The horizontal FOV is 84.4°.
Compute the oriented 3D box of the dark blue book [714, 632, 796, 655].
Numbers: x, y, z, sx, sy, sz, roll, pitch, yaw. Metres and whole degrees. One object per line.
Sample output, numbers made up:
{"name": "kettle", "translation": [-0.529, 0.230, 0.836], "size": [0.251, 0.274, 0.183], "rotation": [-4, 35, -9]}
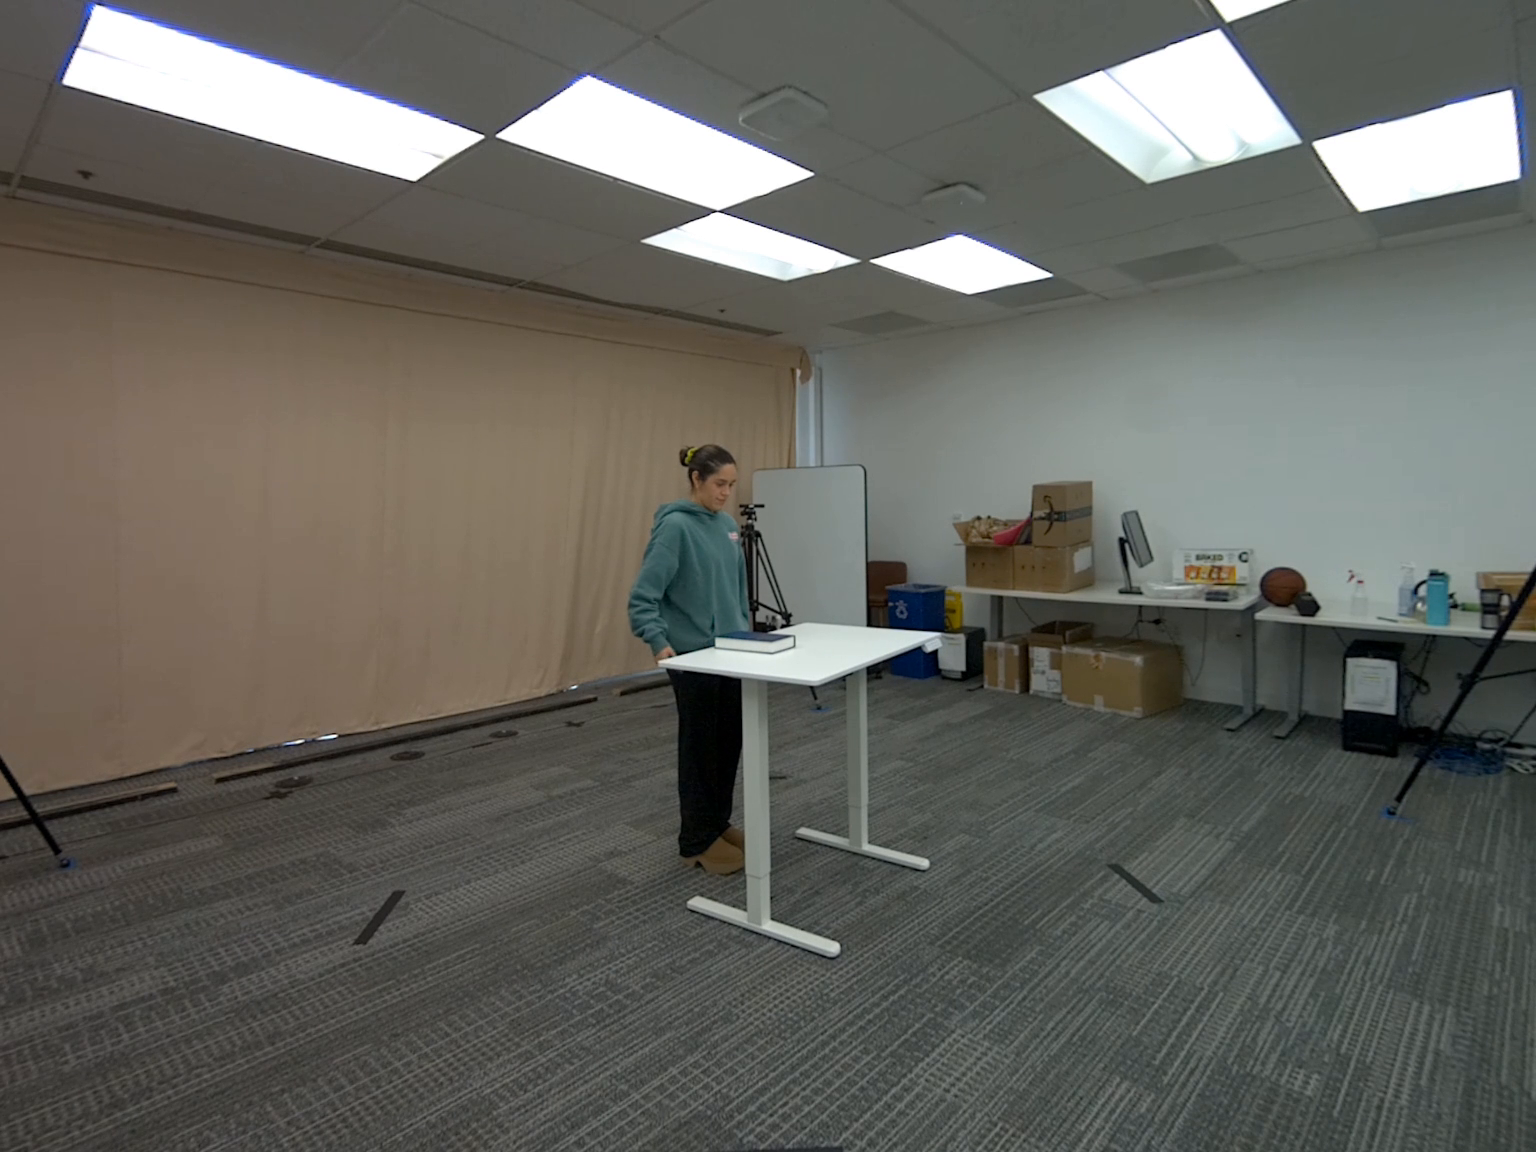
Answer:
{"name": "dark blue book", "translation": [-0.042, 0.238, 3.006], "size": [0.252, 0.045, 0.159], "rotation": [2, 6, 32]}
